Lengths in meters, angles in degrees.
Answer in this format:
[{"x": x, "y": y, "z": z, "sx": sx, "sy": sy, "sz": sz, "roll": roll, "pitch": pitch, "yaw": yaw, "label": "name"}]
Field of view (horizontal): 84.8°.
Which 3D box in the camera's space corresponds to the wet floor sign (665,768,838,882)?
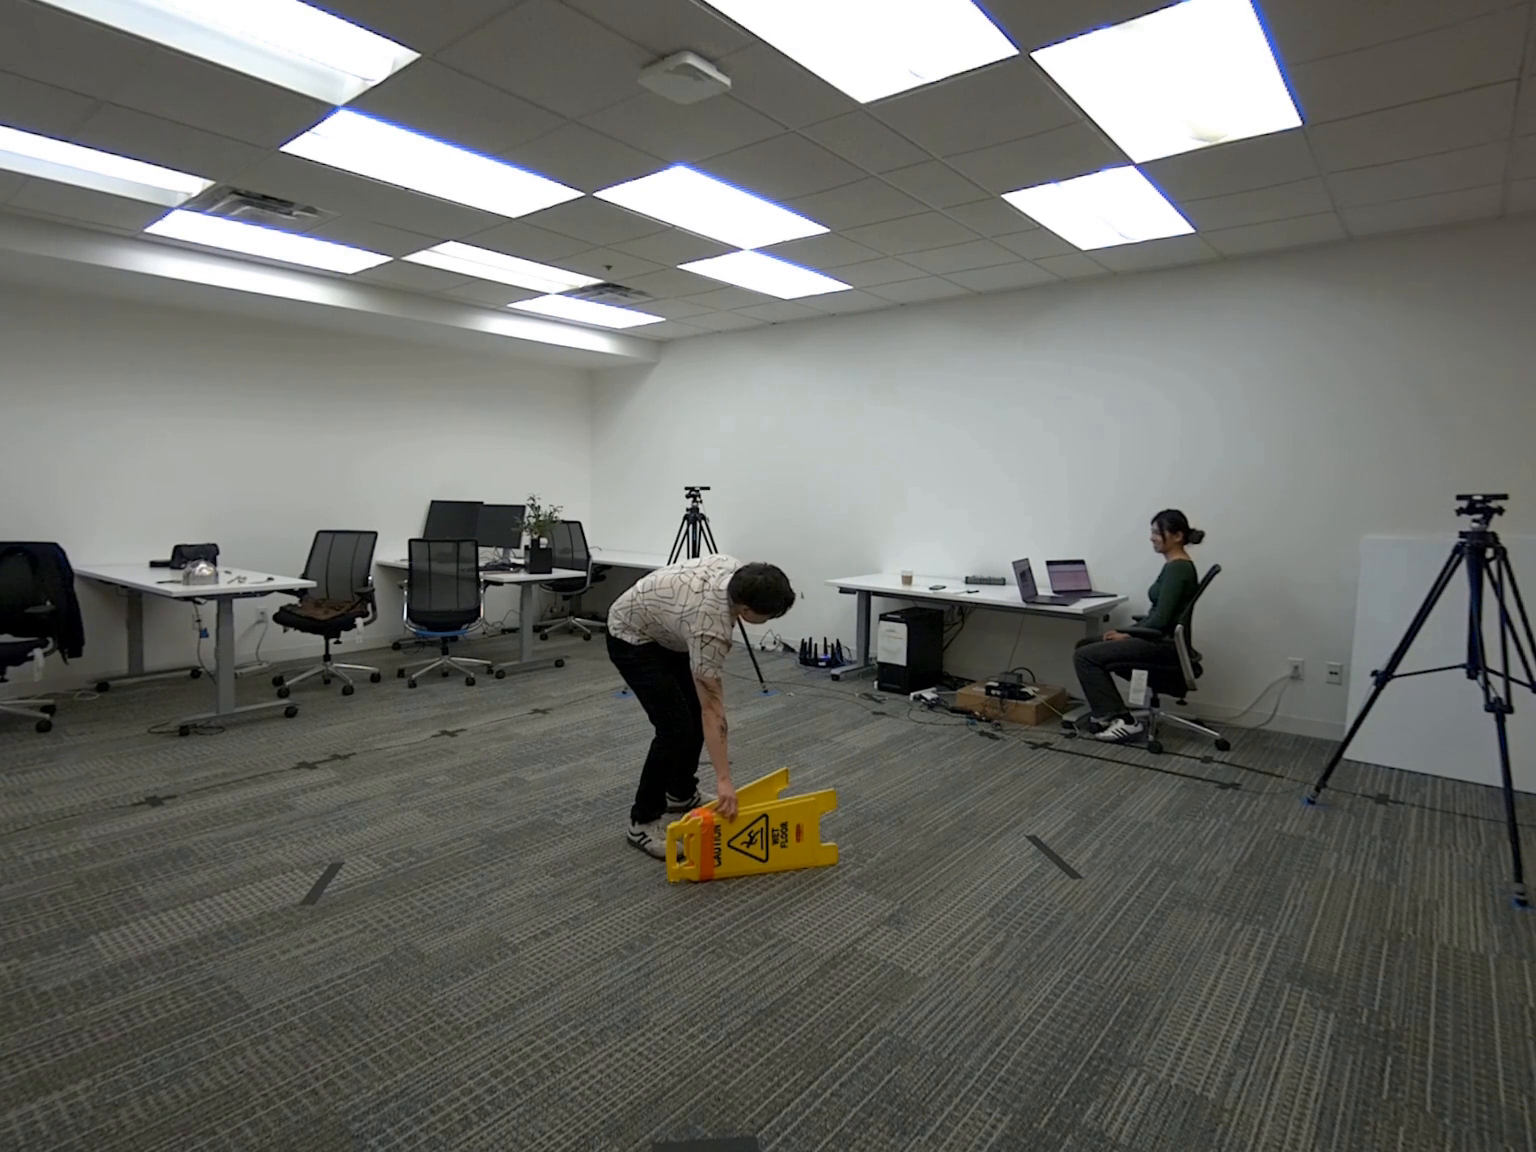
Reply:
[{"x": -0.094, "y": 0.935, "z": 3.113, "sx": 0.628, "sy": 0.281, "sz": 0.299, "roll": -4, "pitch": 6, "yaw": -34, "label": "wet floor sign"}]
